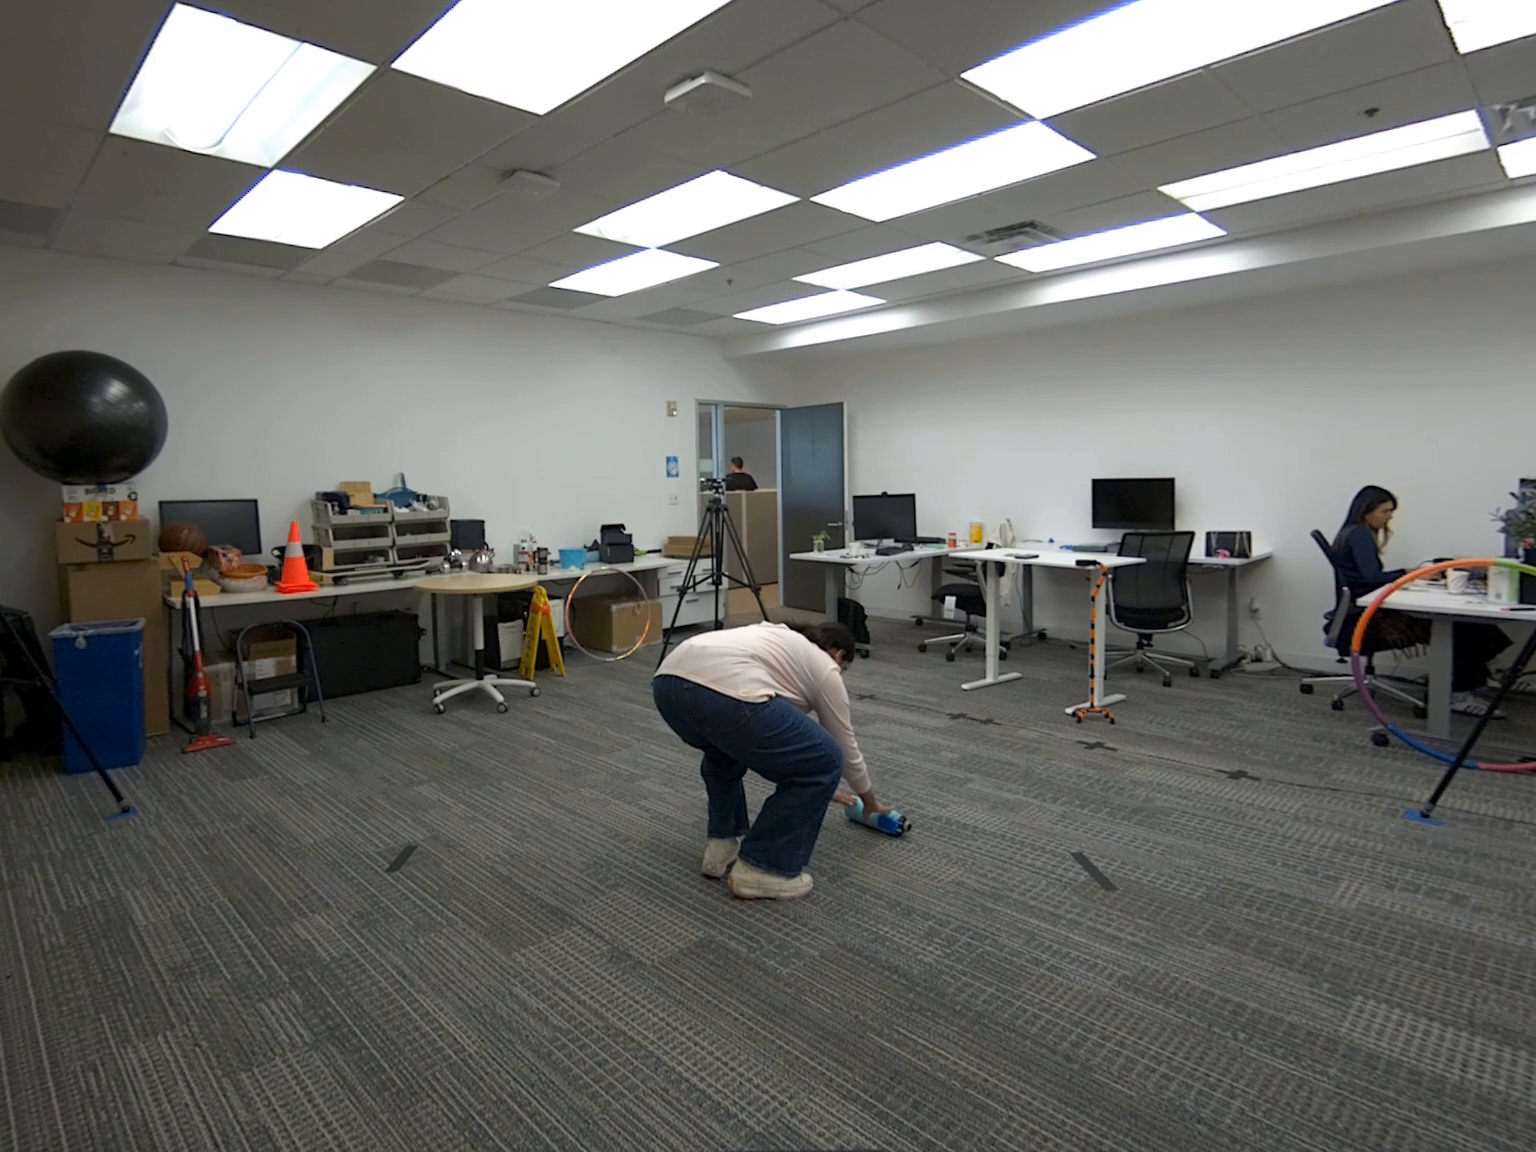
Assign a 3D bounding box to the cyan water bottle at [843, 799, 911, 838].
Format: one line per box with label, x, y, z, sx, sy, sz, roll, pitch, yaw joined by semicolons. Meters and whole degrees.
cyan water bottle;0.436;0.956;3.399;0.090;0.092;0.292;-5;8;-40
